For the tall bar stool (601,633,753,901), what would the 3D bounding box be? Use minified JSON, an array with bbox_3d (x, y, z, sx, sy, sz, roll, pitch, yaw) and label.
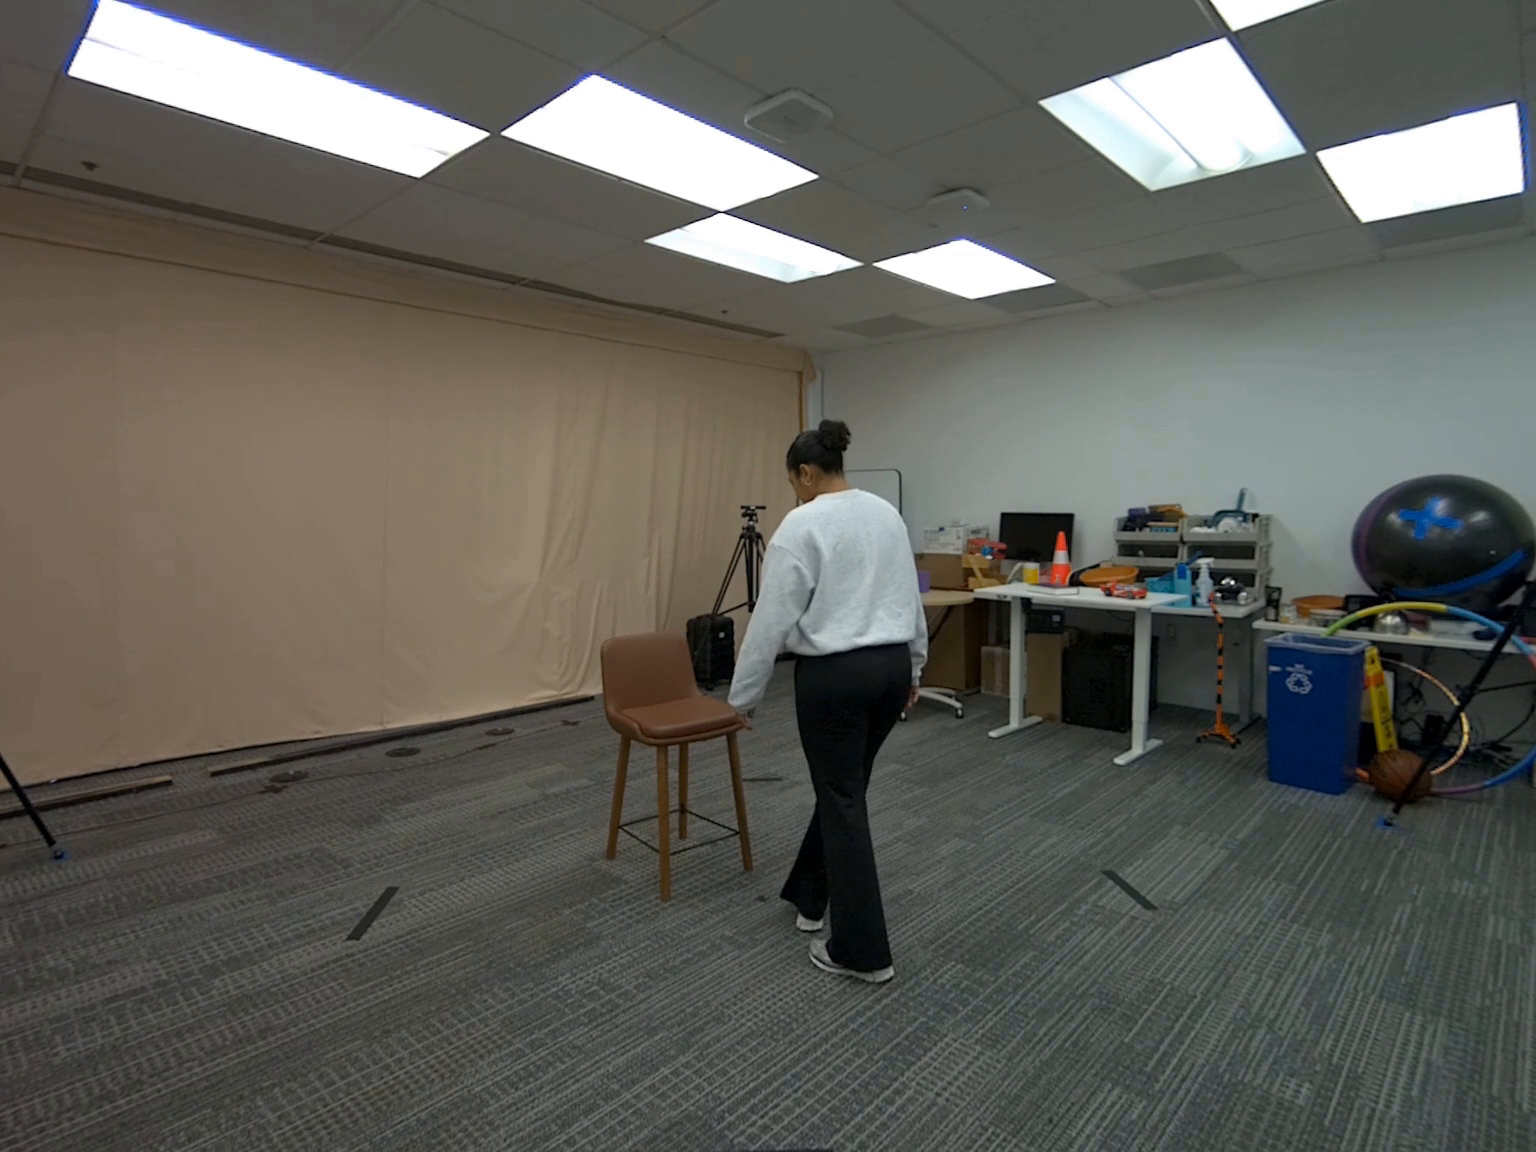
[{"bbox_3d":[-0.364,0.688,3.252,0.443,0.889,0.482,-3,2,-38],"label":"tall bar stool"}]
